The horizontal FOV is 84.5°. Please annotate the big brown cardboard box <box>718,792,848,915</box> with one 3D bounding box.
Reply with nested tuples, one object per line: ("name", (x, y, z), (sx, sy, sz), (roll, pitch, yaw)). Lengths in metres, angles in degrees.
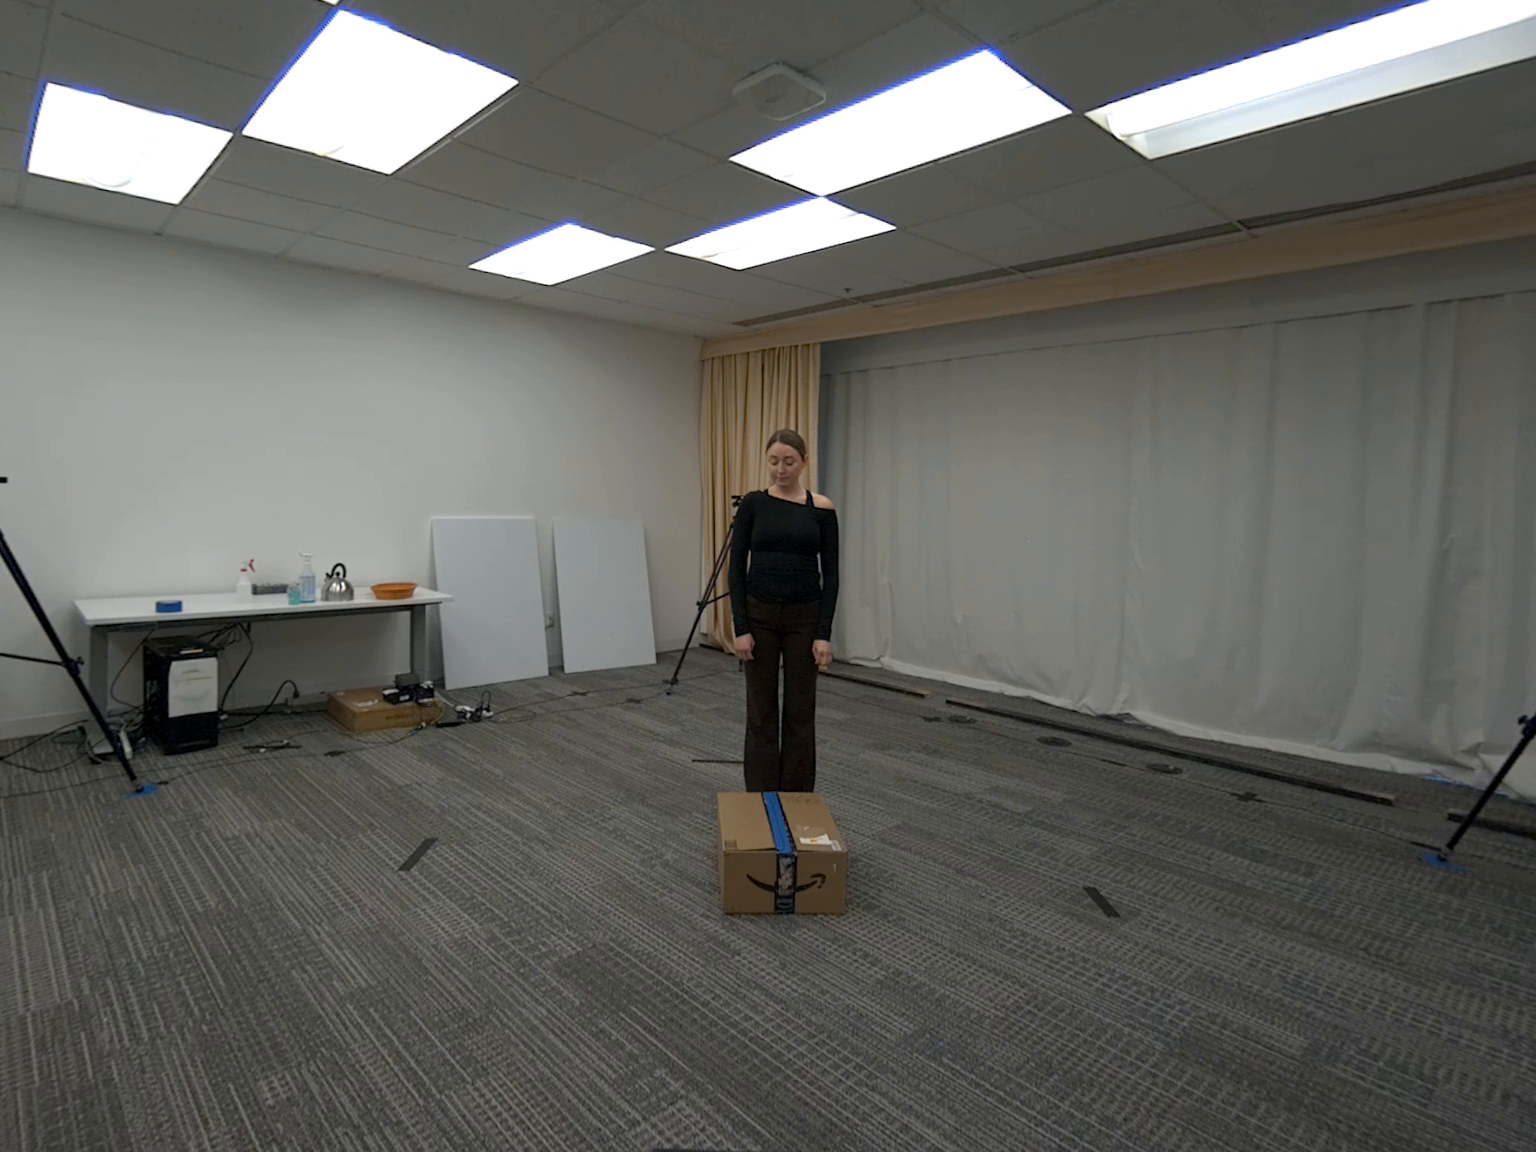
("big brown cardboard box", (0.021, 0.996, 3.075), (0.416, 0.232, 0.592), (1, 4, -5))
